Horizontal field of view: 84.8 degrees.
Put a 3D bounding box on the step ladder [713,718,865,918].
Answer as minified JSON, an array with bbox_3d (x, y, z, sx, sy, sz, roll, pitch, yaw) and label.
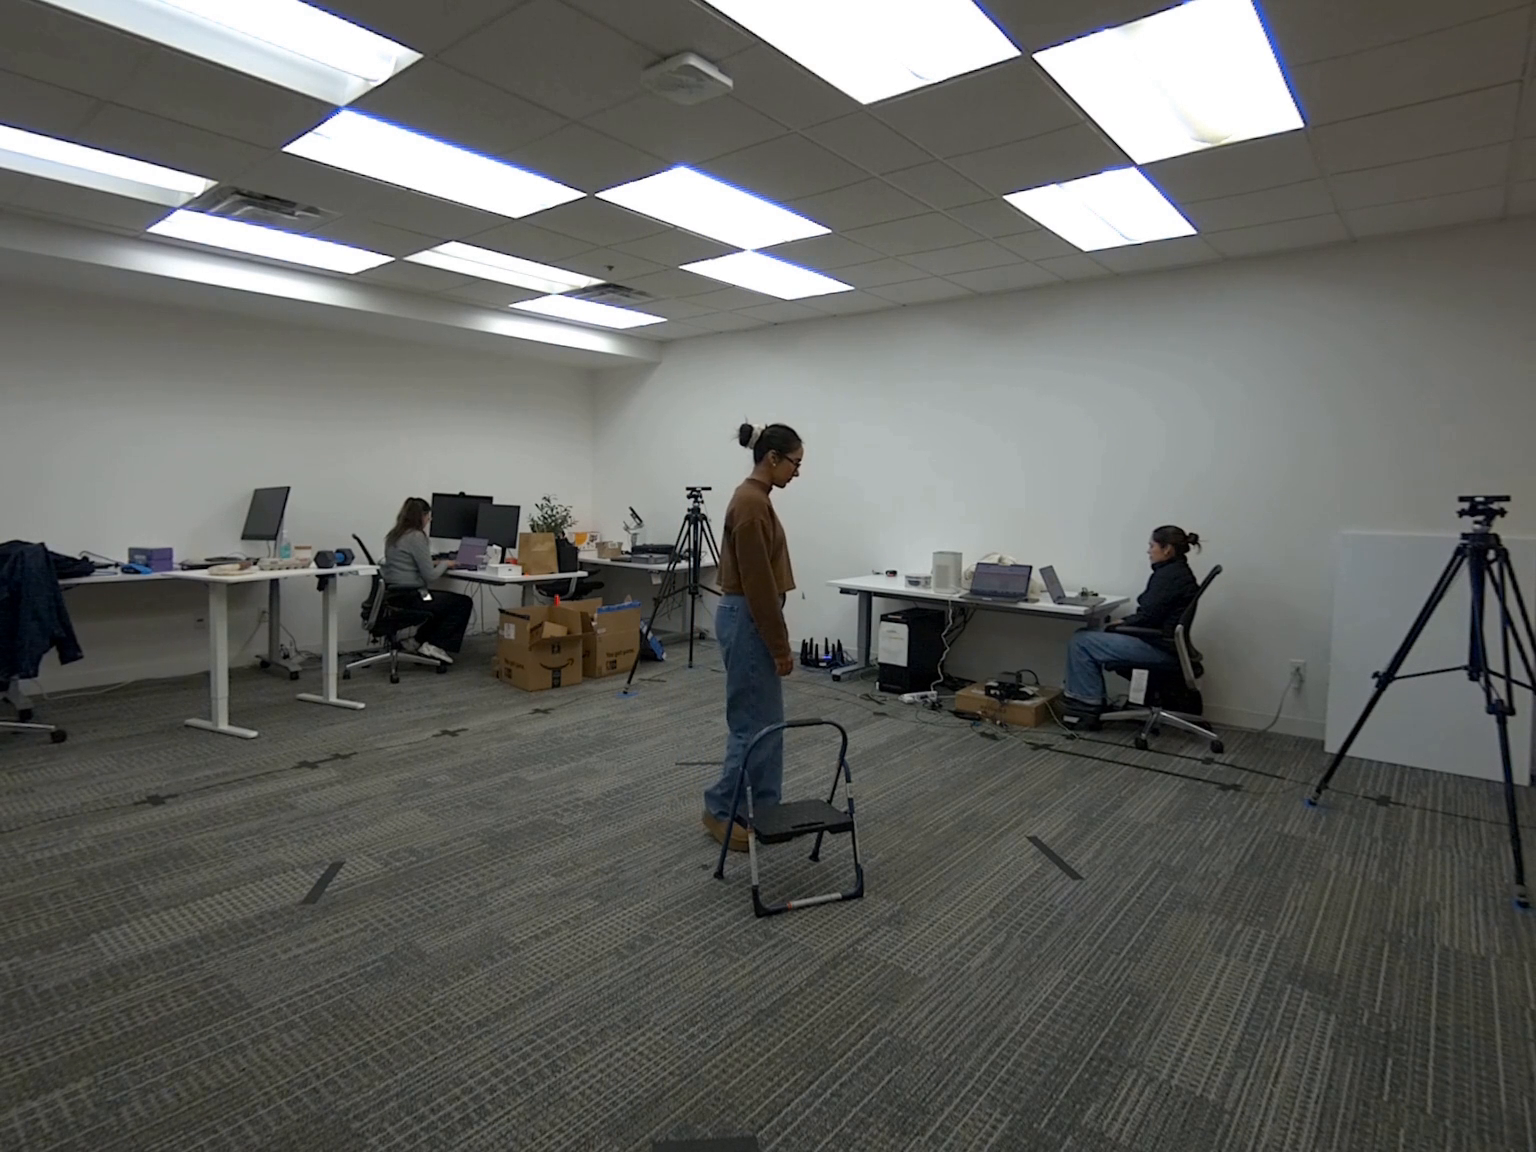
[{"bbox_3d":[0.070,0.783,2.973,0.420,0.605,0.359,-1,3,-26],"label":"step ladder"}]
